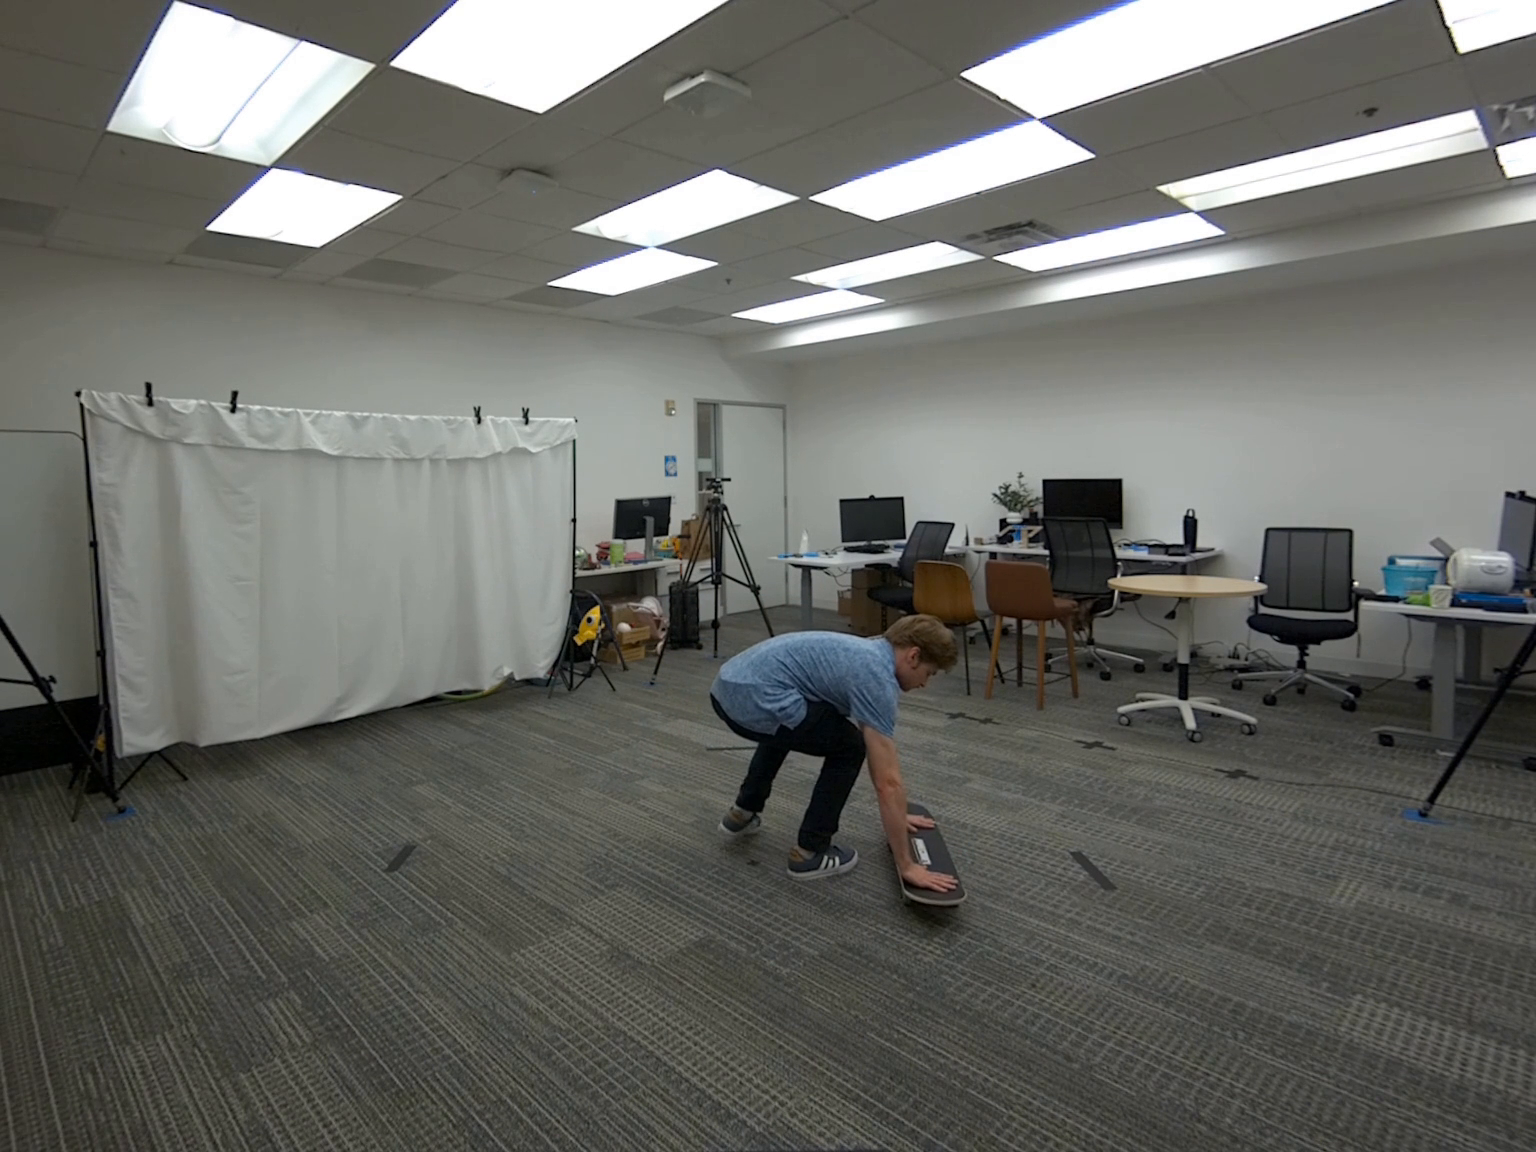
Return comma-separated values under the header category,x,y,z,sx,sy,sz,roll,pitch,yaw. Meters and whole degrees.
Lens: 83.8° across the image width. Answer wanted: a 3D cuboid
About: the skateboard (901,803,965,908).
category,x,y,z,sx,sy,sz,roll,pitch,yaw
skateboard,0.539,0.989,2.977,0.194,0.110,0.787,1,7,2
